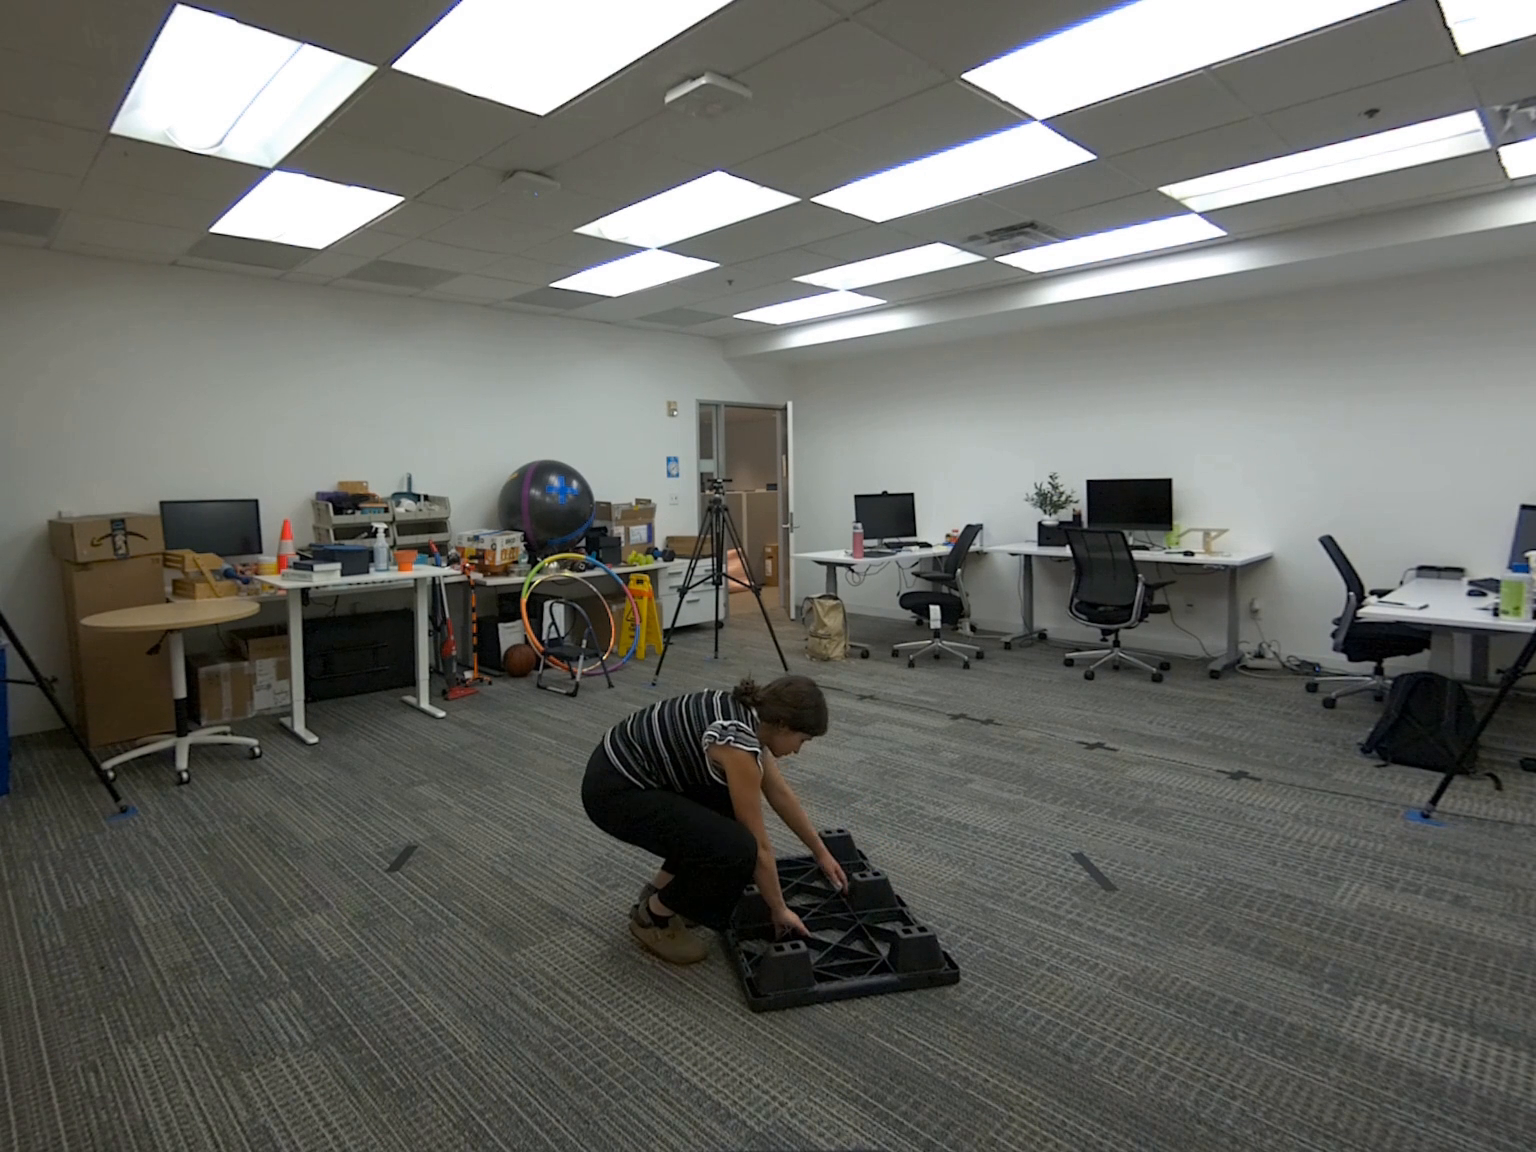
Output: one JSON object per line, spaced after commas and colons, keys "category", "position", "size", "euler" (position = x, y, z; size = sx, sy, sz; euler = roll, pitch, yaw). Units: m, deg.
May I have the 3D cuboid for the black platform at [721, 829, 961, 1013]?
{"category": "black platform", "position": [0.153, 1.022, 2.676], "size": [0.598, 0.142, 0.819], "euler": [-3, 7, -14]}
